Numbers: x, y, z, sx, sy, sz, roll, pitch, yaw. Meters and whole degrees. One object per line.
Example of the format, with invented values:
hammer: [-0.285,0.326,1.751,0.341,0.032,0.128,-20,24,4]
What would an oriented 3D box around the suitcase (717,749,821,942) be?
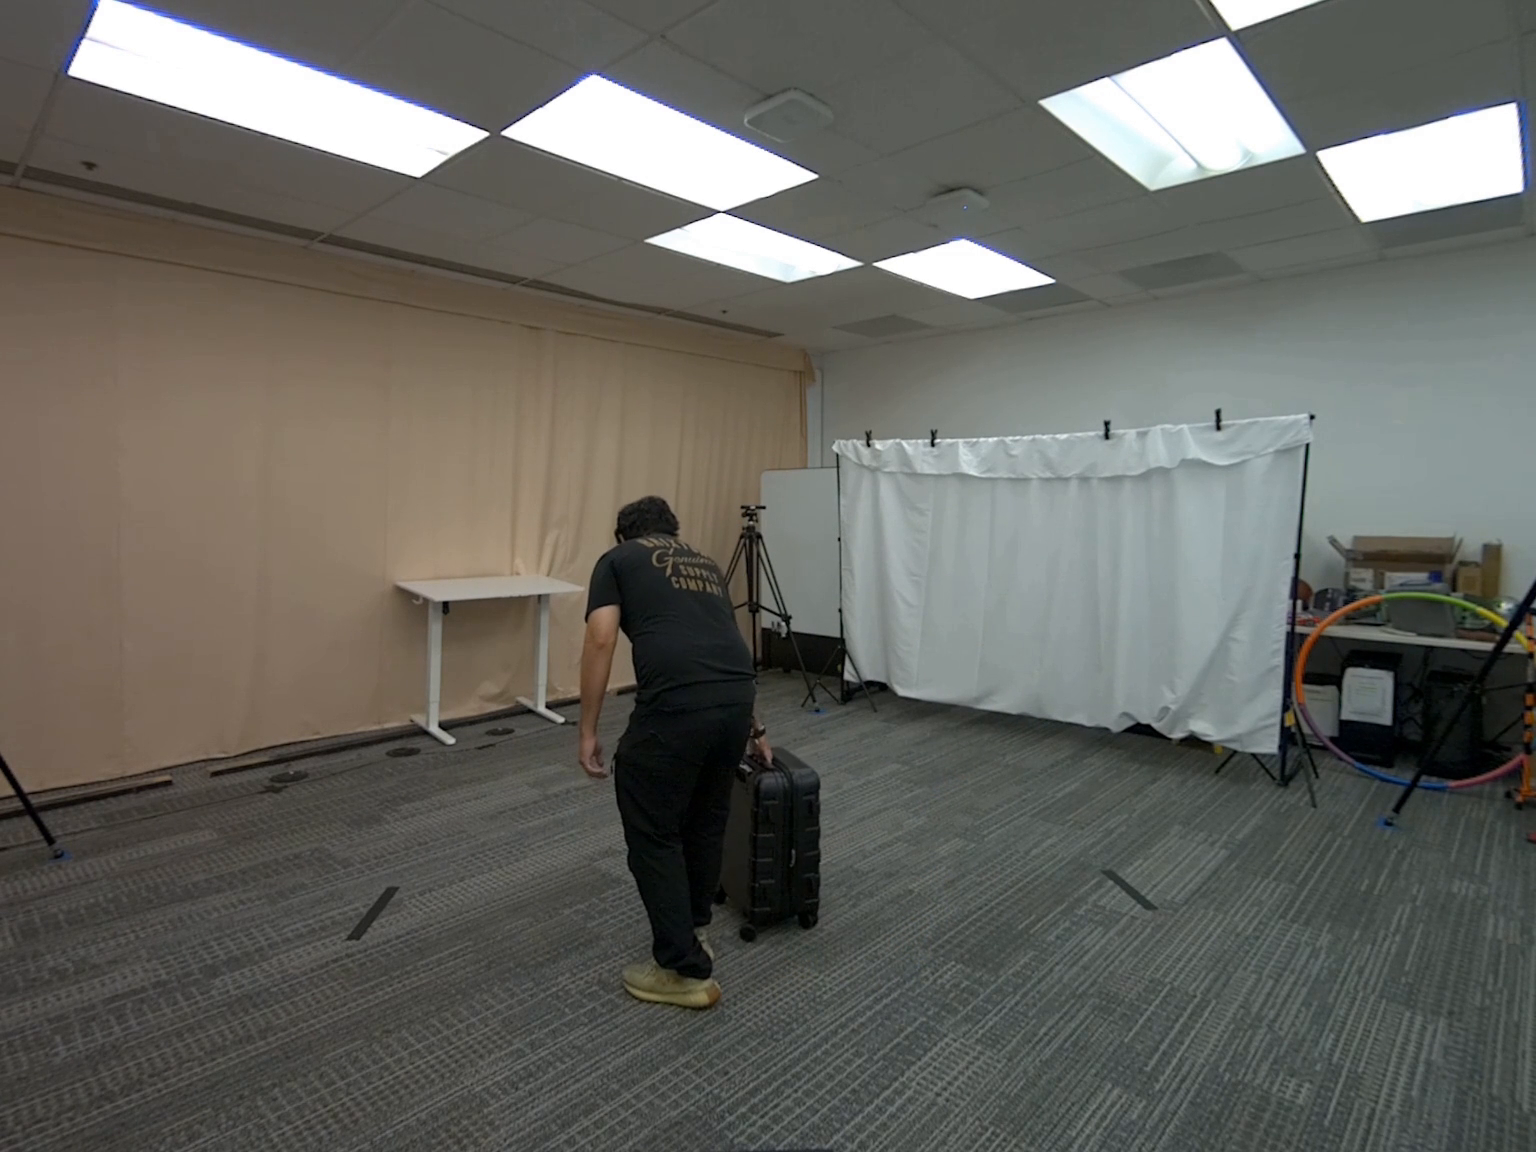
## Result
suitcase: [0.013,0.883,2.860,0.243,0.548,0.384,1,4,-22]
